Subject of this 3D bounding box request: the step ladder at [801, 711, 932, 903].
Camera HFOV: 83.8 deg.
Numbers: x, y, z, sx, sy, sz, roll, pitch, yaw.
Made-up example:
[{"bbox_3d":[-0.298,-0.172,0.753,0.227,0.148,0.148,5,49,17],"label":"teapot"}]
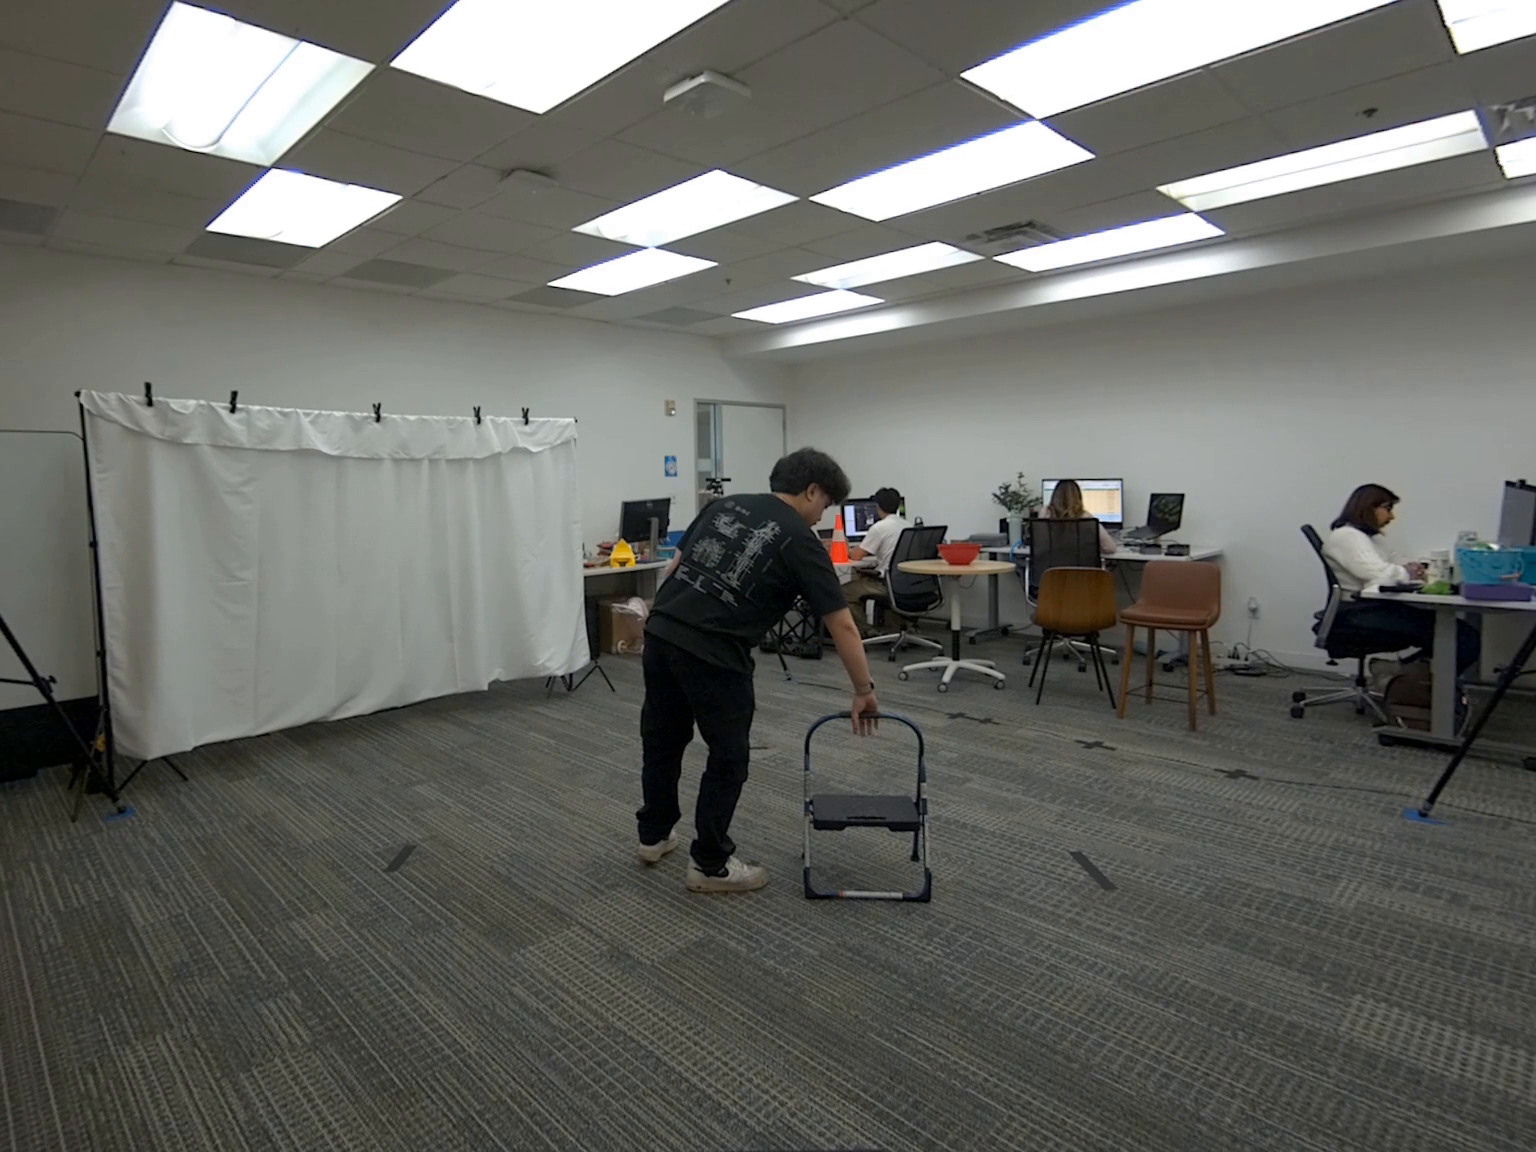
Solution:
[{"bbox_3d":[0.328,0.745,2.956,0.432,0.604,0.349,-1,4,3],"label":"step ladder"}]
